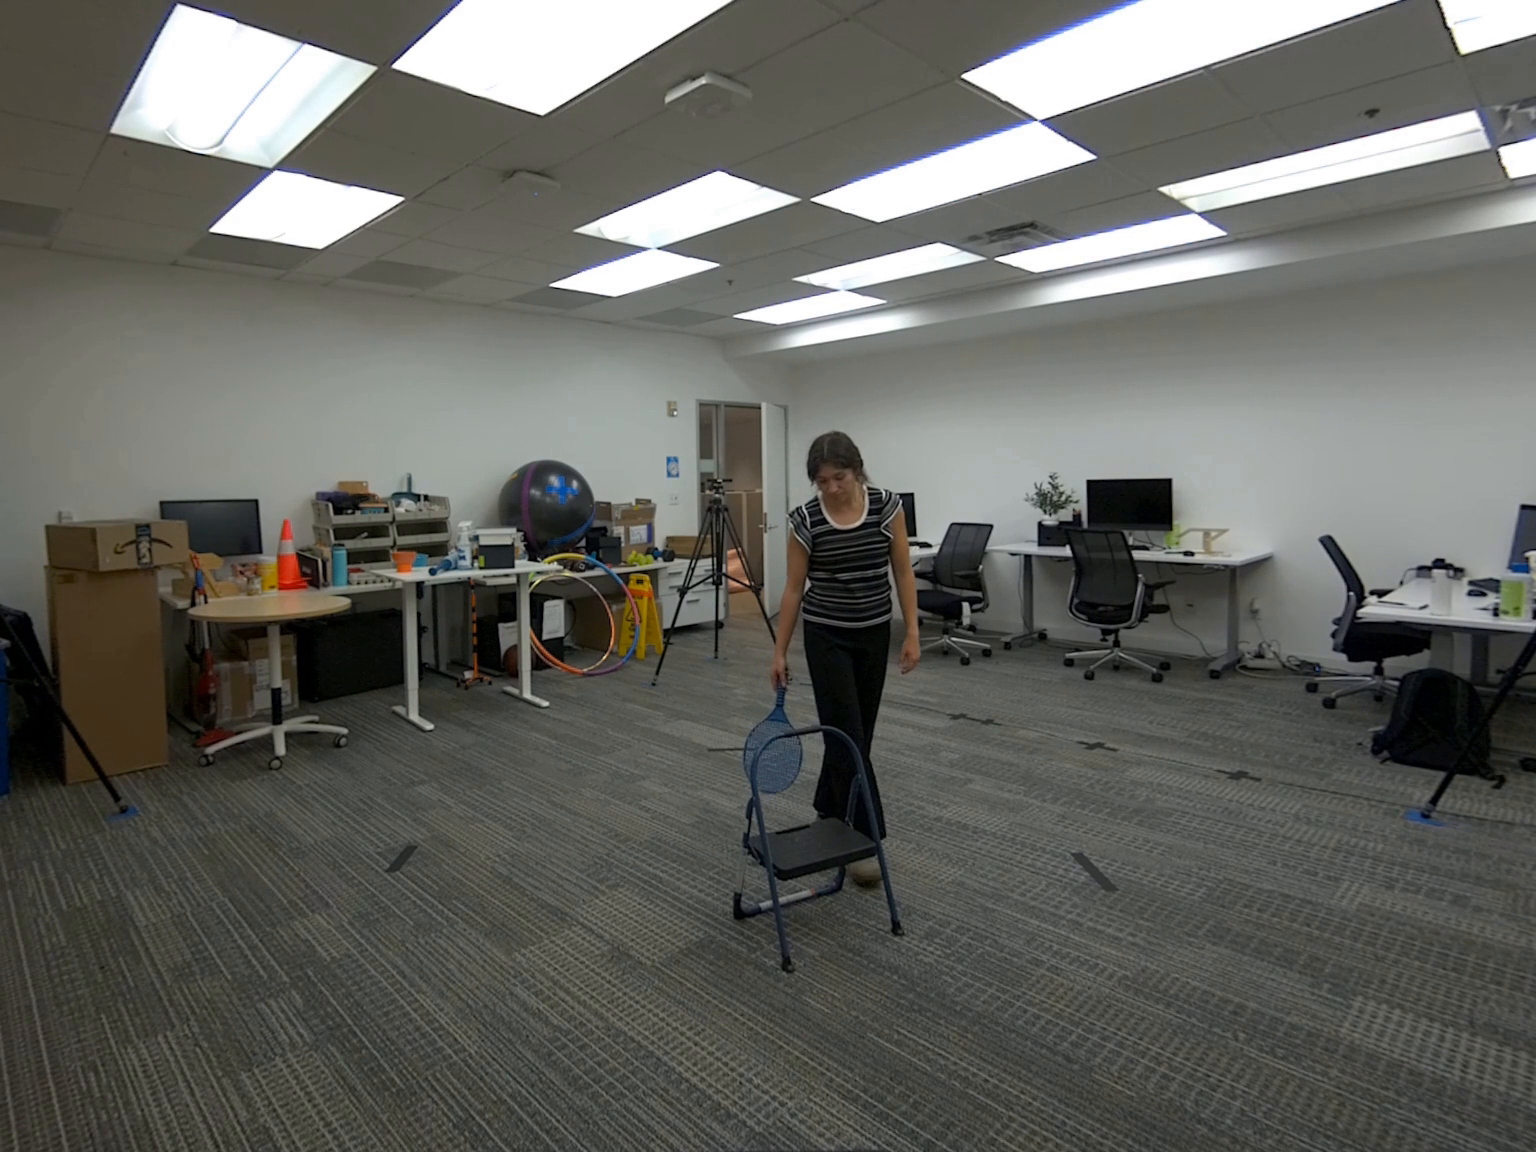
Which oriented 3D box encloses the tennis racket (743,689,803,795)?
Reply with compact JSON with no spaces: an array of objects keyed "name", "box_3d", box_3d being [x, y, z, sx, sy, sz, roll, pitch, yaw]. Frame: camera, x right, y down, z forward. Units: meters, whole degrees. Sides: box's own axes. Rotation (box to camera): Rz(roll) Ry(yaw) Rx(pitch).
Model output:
[{"name":"tennis racket","box_3d":[0.044,0.573,3.083,0.213,0.438,0.031,6,-15,-1]}]
